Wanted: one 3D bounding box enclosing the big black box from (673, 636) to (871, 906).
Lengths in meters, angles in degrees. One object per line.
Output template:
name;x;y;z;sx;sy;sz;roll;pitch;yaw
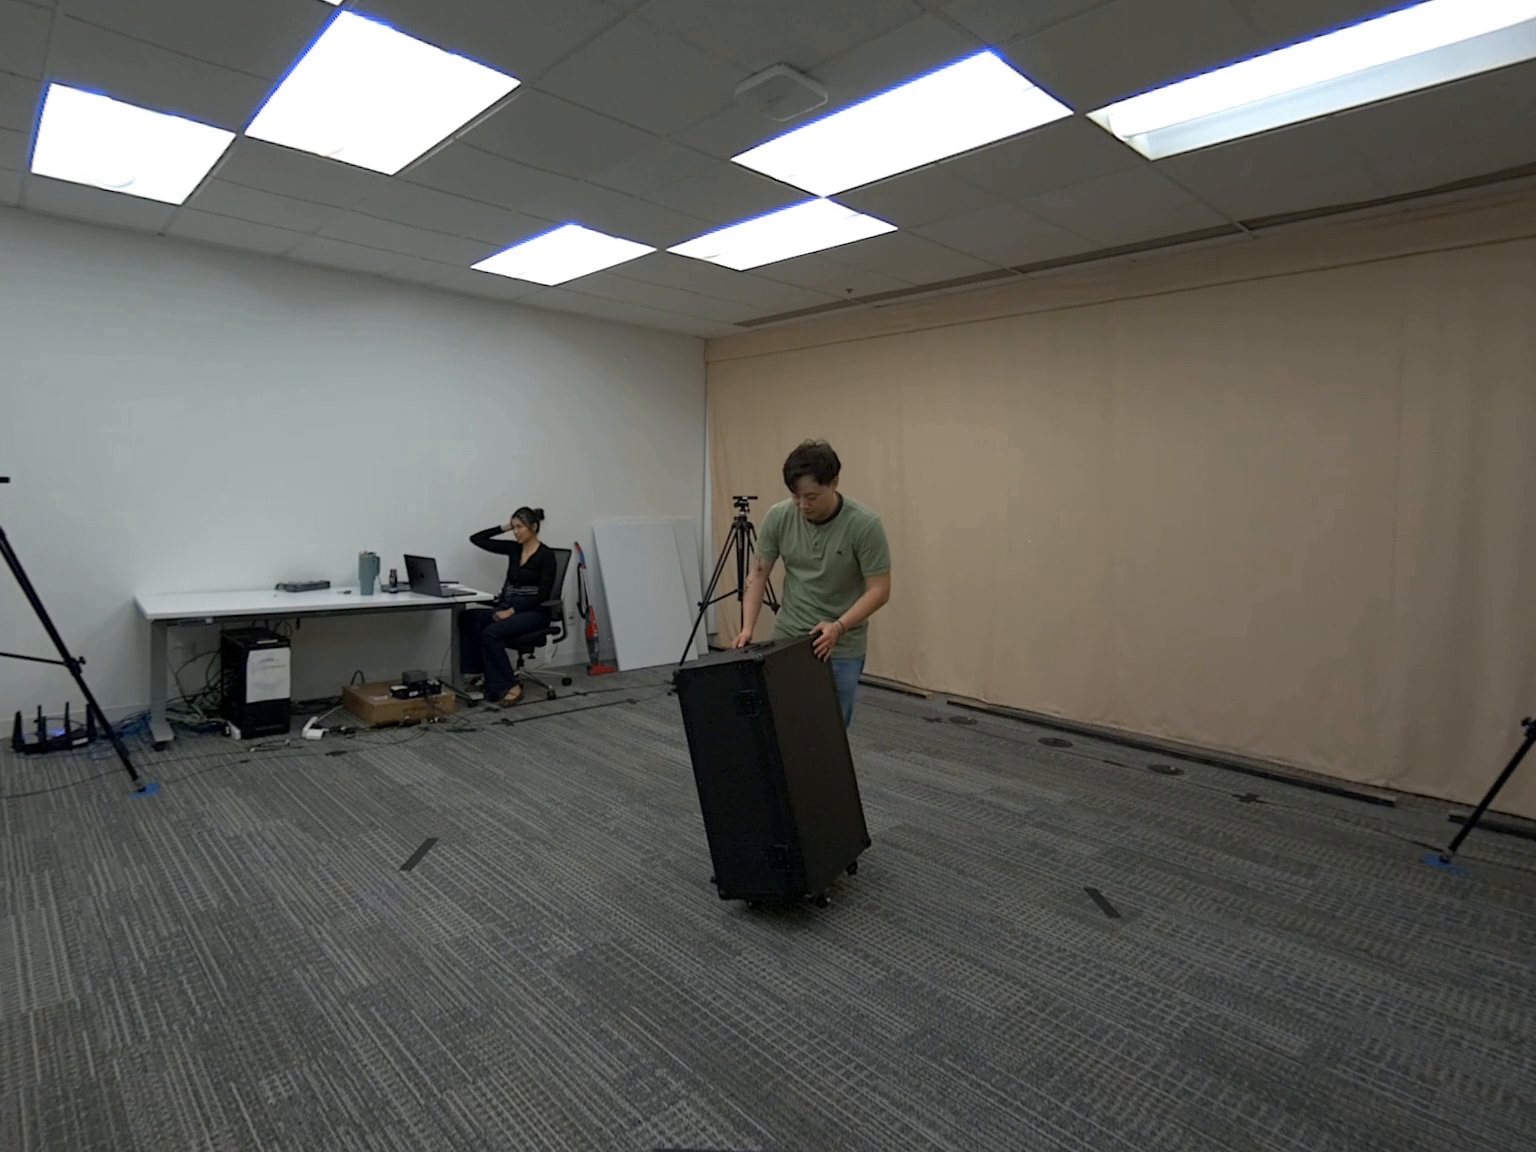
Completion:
big black box;0.008;0.683;2.927;0.402;0.863;0.512;-14;-2;30
